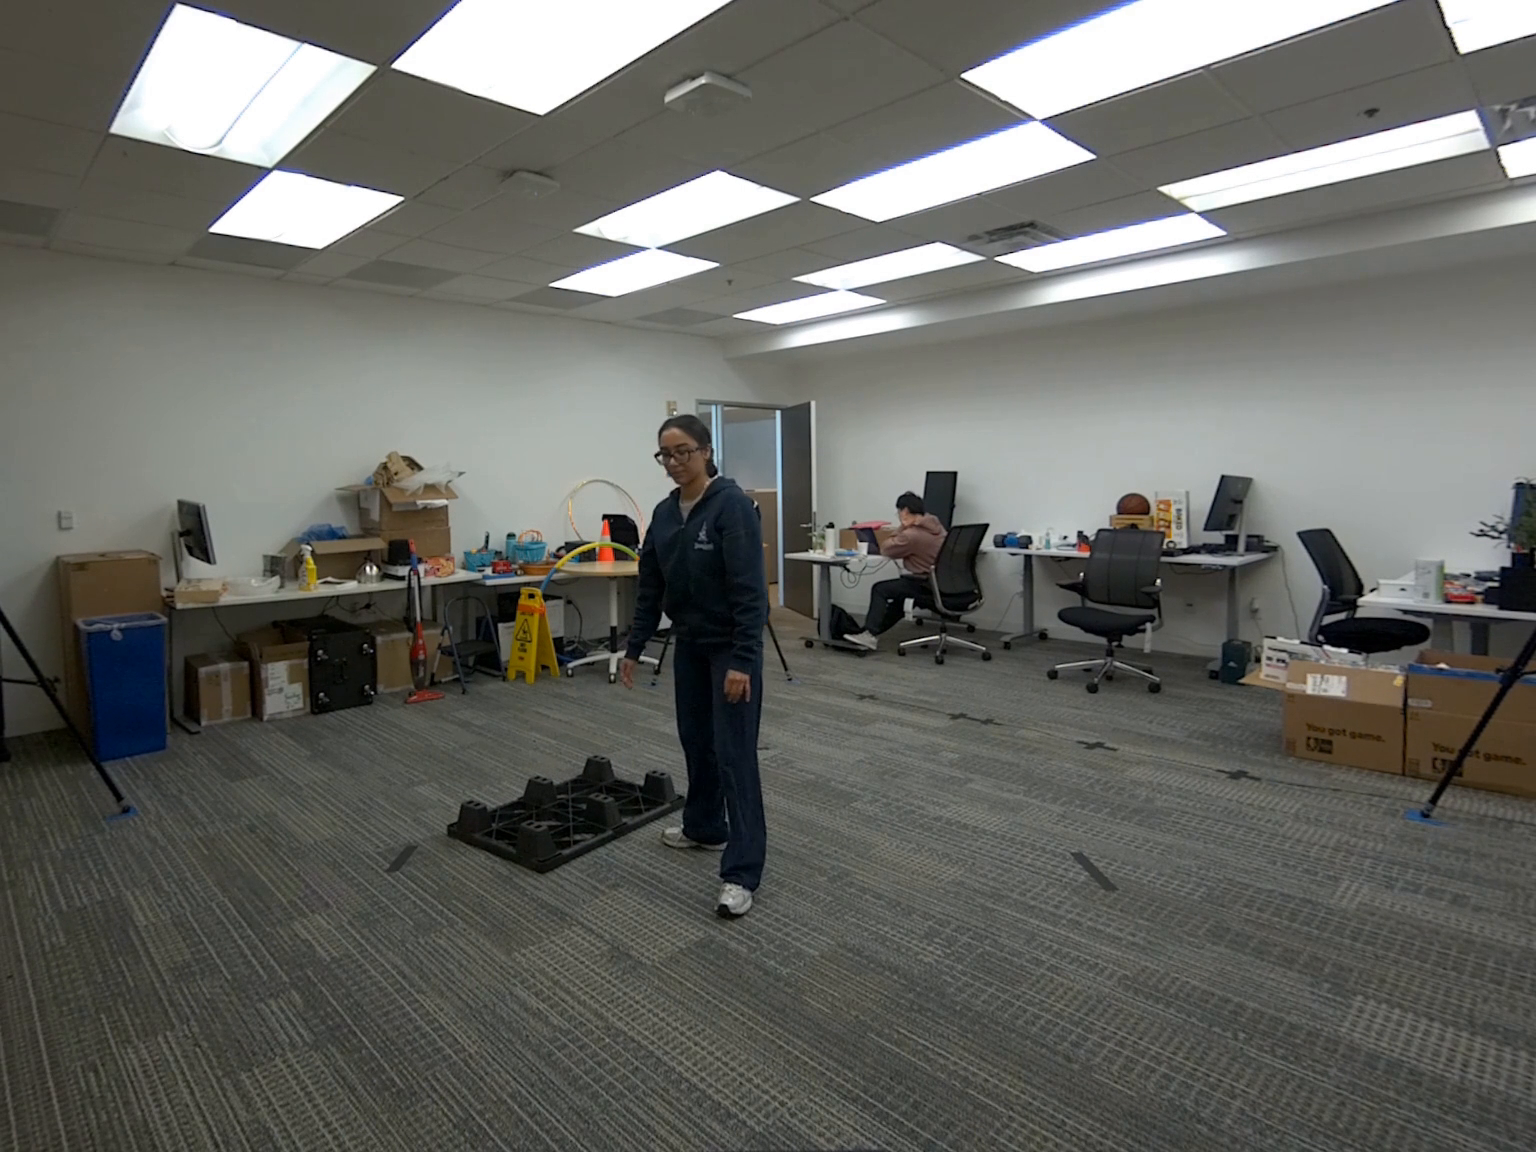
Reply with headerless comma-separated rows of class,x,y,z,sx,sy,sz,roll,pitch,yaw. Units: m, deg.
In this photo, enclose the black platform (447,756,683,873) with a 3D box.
black platform,-0.813,0.946,3.535,0.623,0.143,0.786,3,7,36
